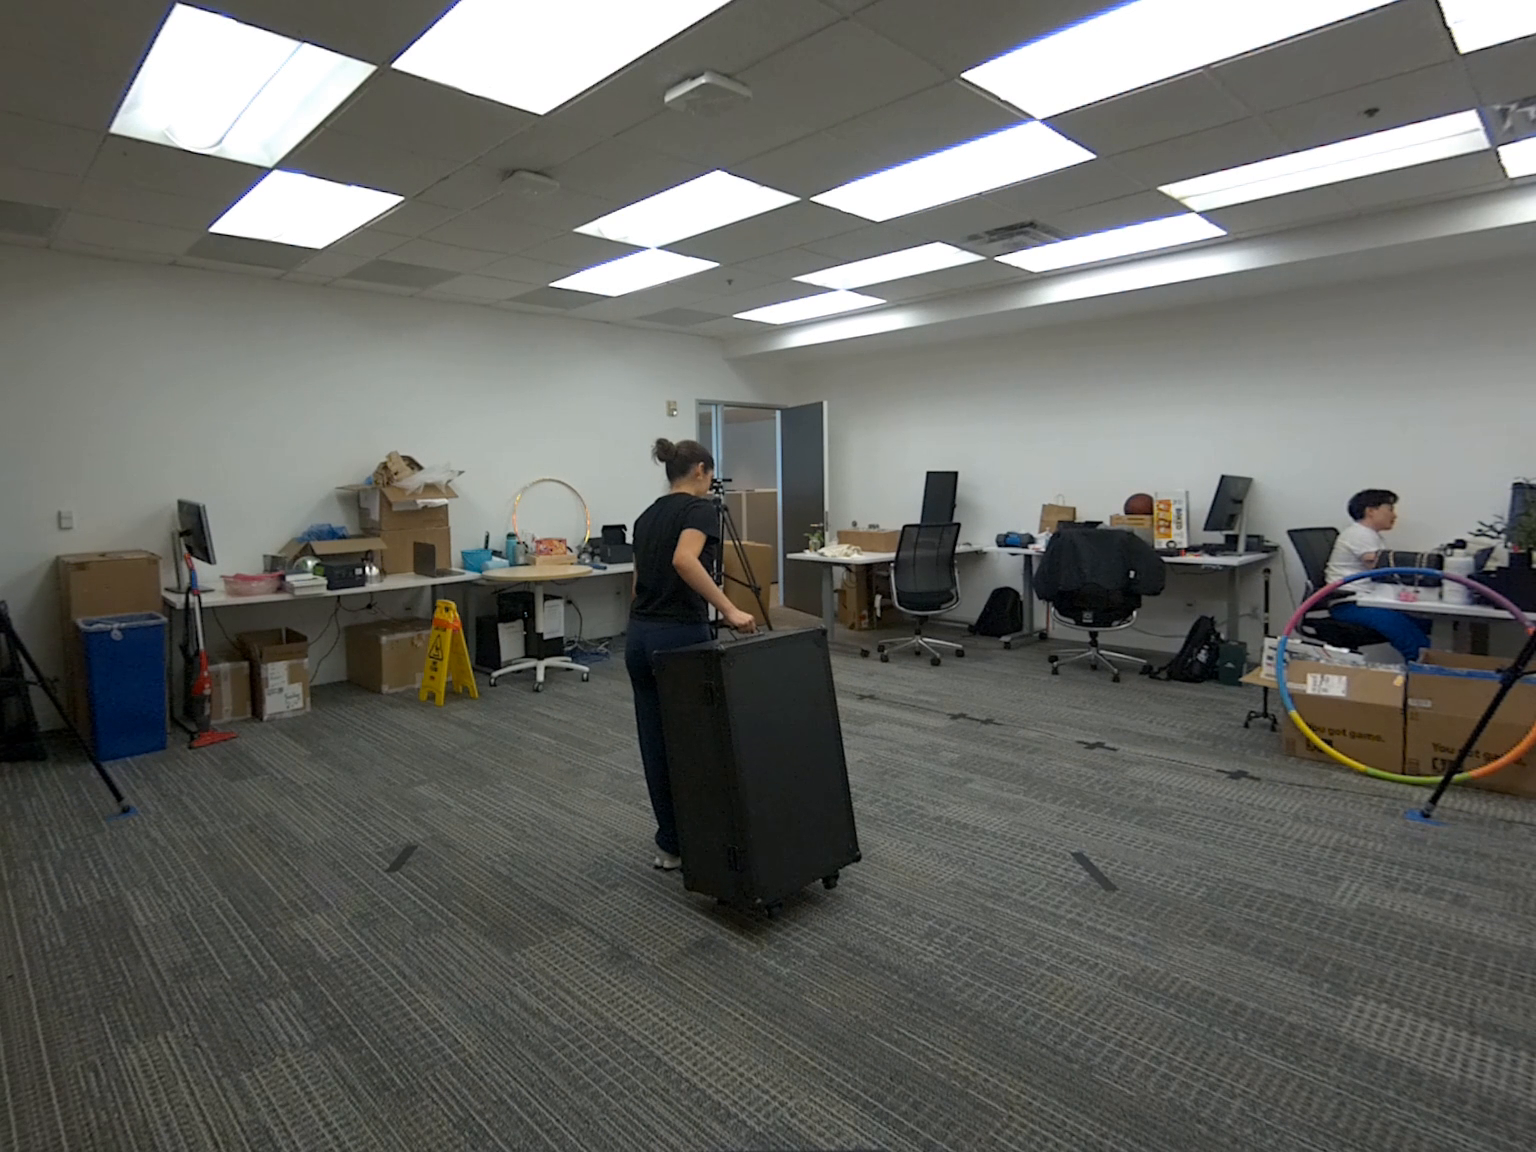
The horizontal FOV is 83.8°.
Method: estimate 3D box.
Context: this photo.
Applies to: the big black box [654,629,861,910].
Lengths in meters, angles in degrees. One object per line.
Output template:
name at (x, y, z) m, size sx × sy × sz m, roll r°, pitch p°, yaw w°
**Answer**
big black box at (-0.043, 0.632, 2.855) m, size 0.508 × 0.865 × 0.405 m, roll -6°, pitch -5°, yaw -42°
